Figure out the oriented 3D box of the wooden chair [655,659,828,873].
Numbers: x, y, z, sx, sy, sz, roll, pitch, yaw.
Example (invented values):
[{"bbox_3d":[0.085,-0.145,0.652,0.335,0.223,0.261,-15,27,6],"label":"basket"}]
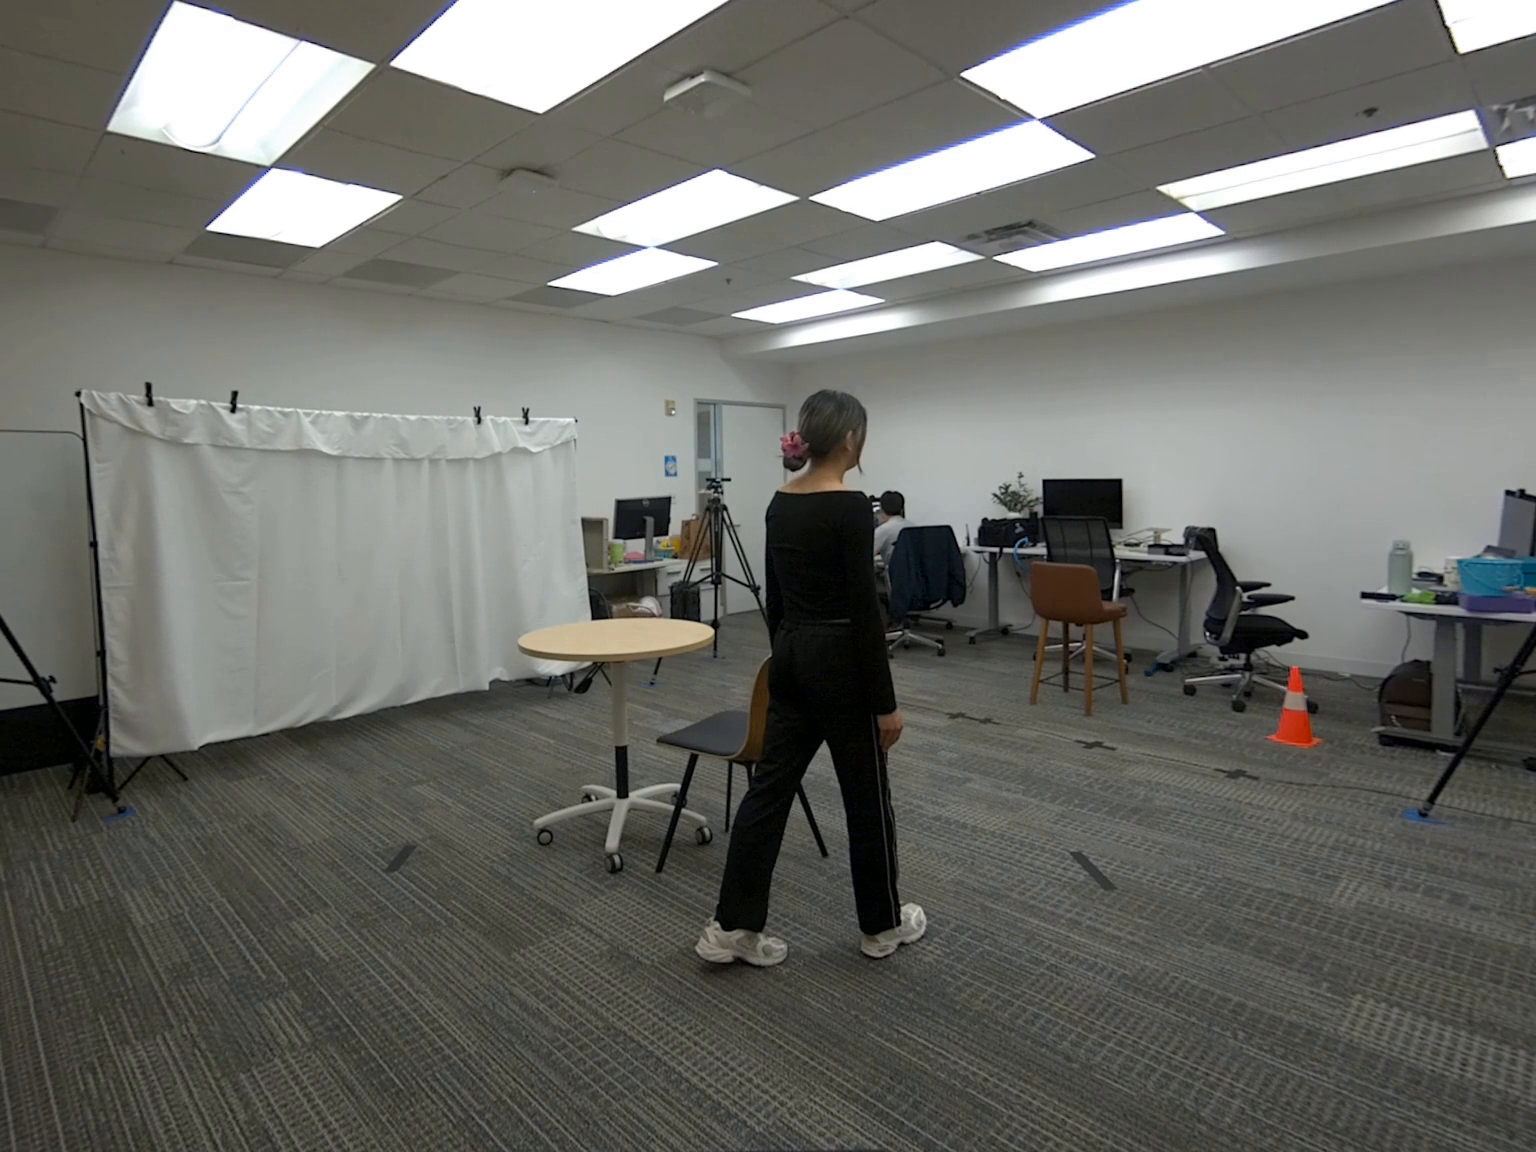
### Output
[{"bbox_3d":[-0.099,0.619,3.058,0.539,0.872,0.466,8,8,33],"label":"wooden chair"}]
